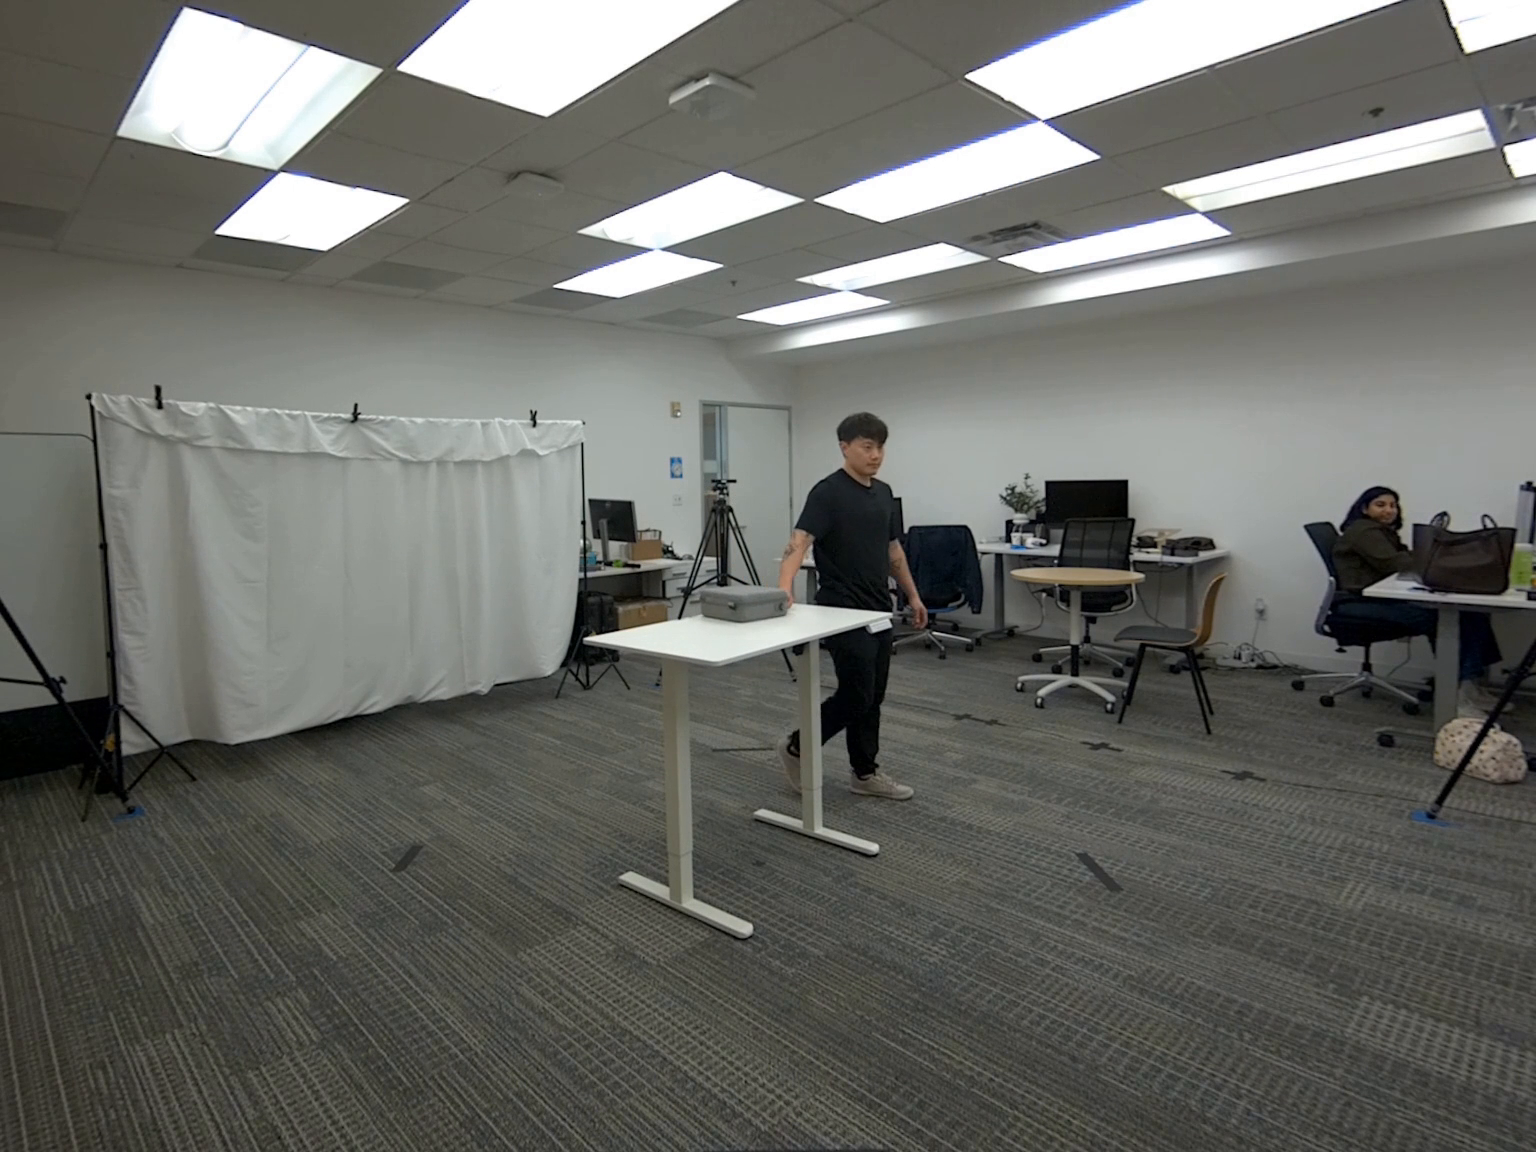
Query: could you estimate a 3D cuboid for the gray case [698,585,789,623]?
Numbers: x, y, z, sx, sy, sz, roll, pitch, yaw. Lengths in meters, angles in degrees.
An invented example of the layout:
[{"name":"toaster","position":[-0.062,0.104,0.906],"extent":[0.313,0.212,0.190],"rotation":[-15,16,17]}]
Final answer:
[{"name":"gray case","position":[-0.090,0.099,3.221],"extent":[0.254,0.104,0.265],"rotation":[-5,7,-41]}]
